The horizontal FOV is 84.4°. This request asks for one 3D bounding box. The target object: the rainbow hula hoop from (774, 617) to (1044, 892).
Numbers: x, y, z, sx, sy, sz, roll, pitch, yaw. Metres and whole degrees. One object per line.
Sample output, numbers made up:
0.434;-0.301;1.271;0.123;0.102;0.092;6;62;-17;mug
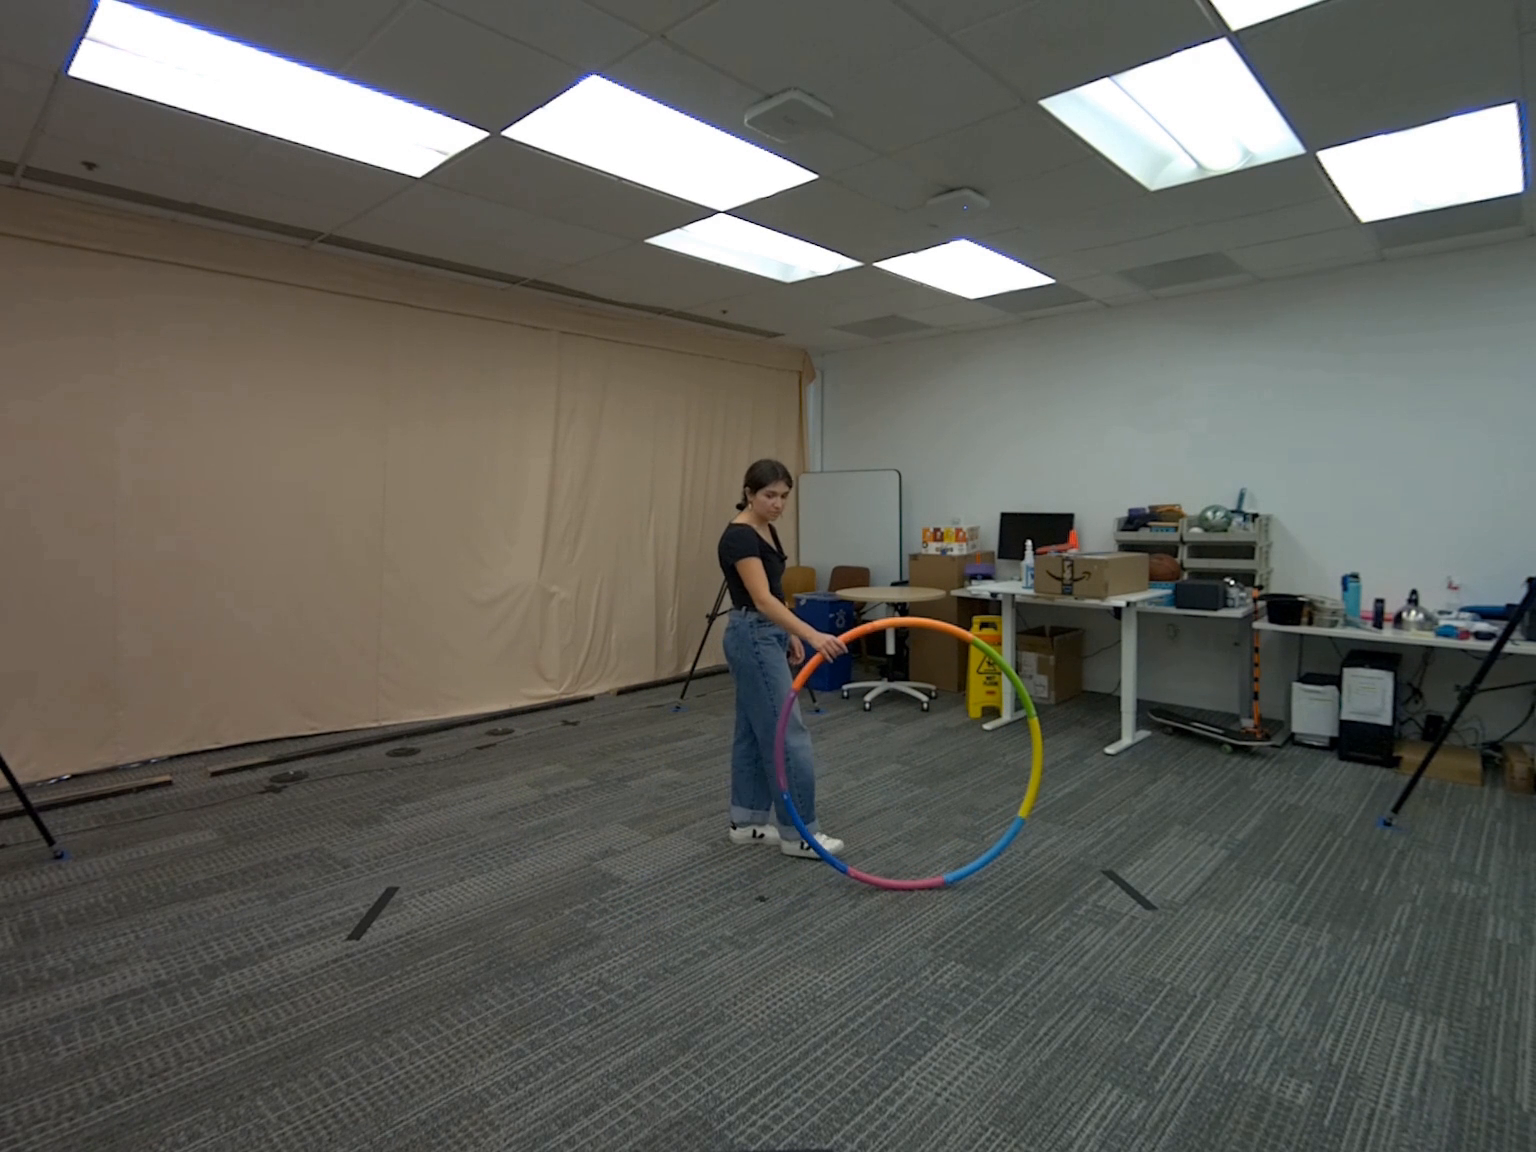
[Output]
0.535;0.652;3.066;0.974;0.979;0.035;0;-1;-4;rainbow hula hoop
